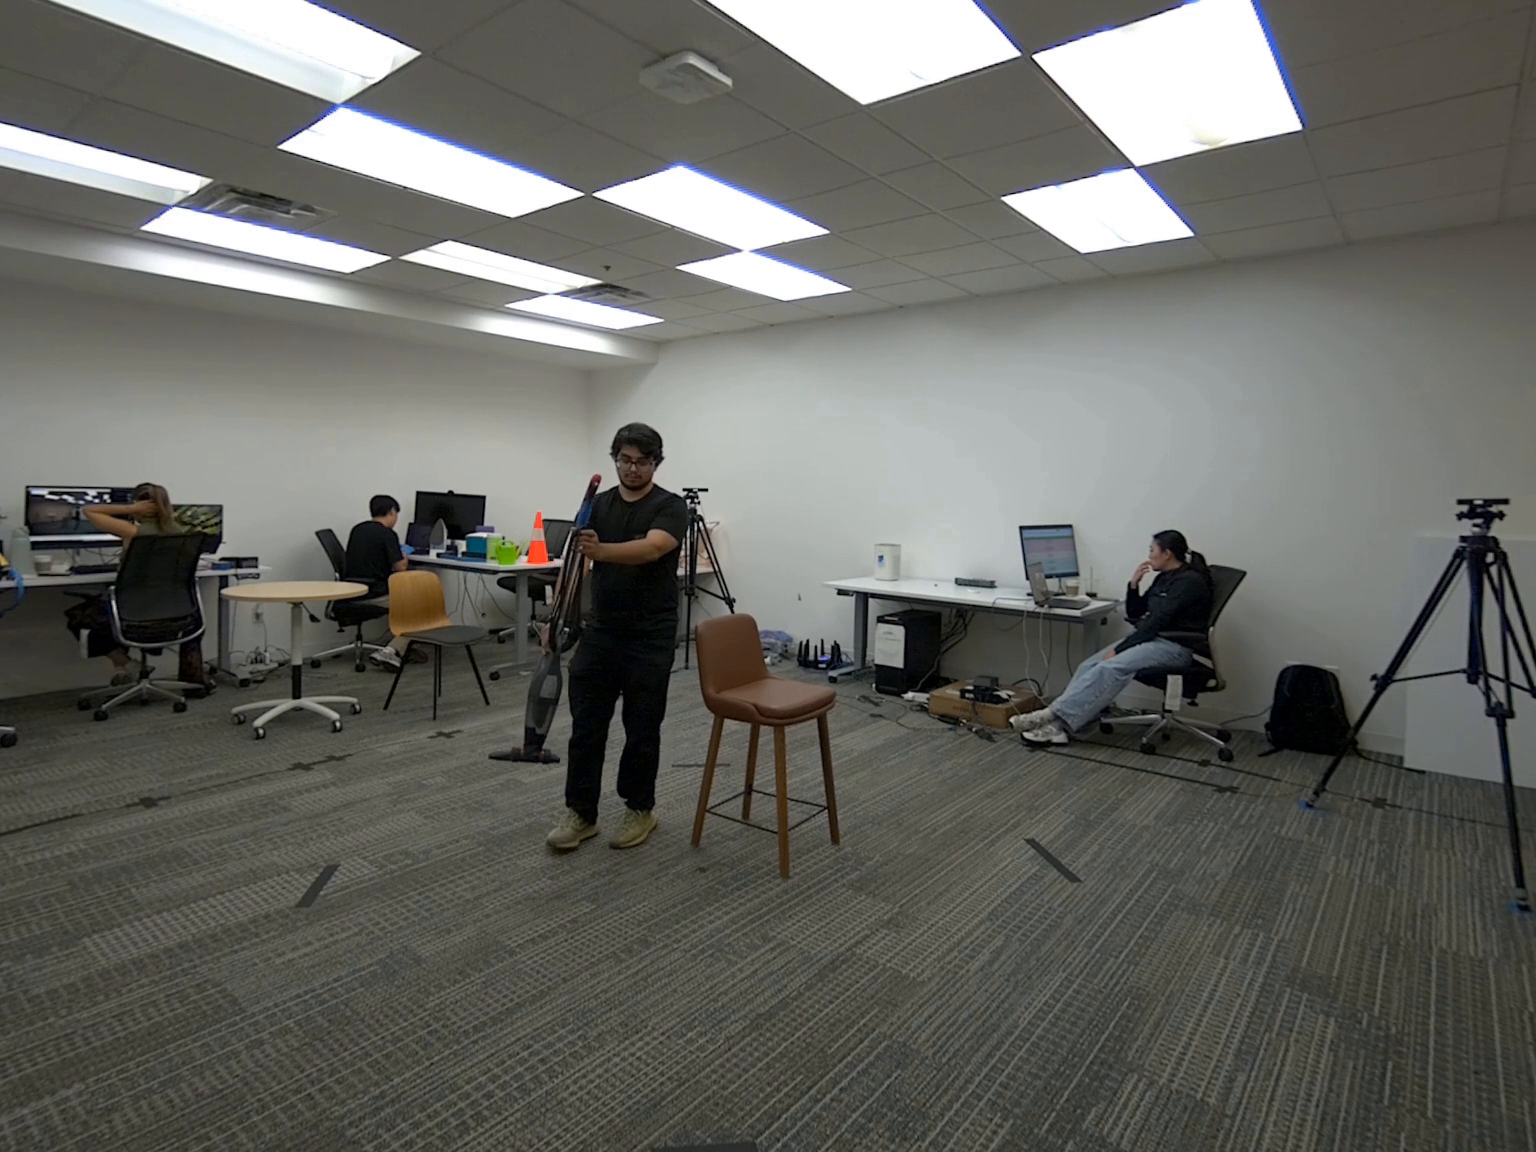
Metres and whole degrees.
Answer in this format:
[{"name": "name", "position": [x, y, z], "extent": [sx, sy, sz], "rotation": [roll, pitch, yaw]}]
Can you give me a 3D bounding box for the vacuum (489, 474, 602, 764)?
[{"name": "vacuum", "position": [-0.727, 0.165, 2.886], "extent": [0.248, 1.040, 0.148], "rotation": [12, 14, -15]}]
